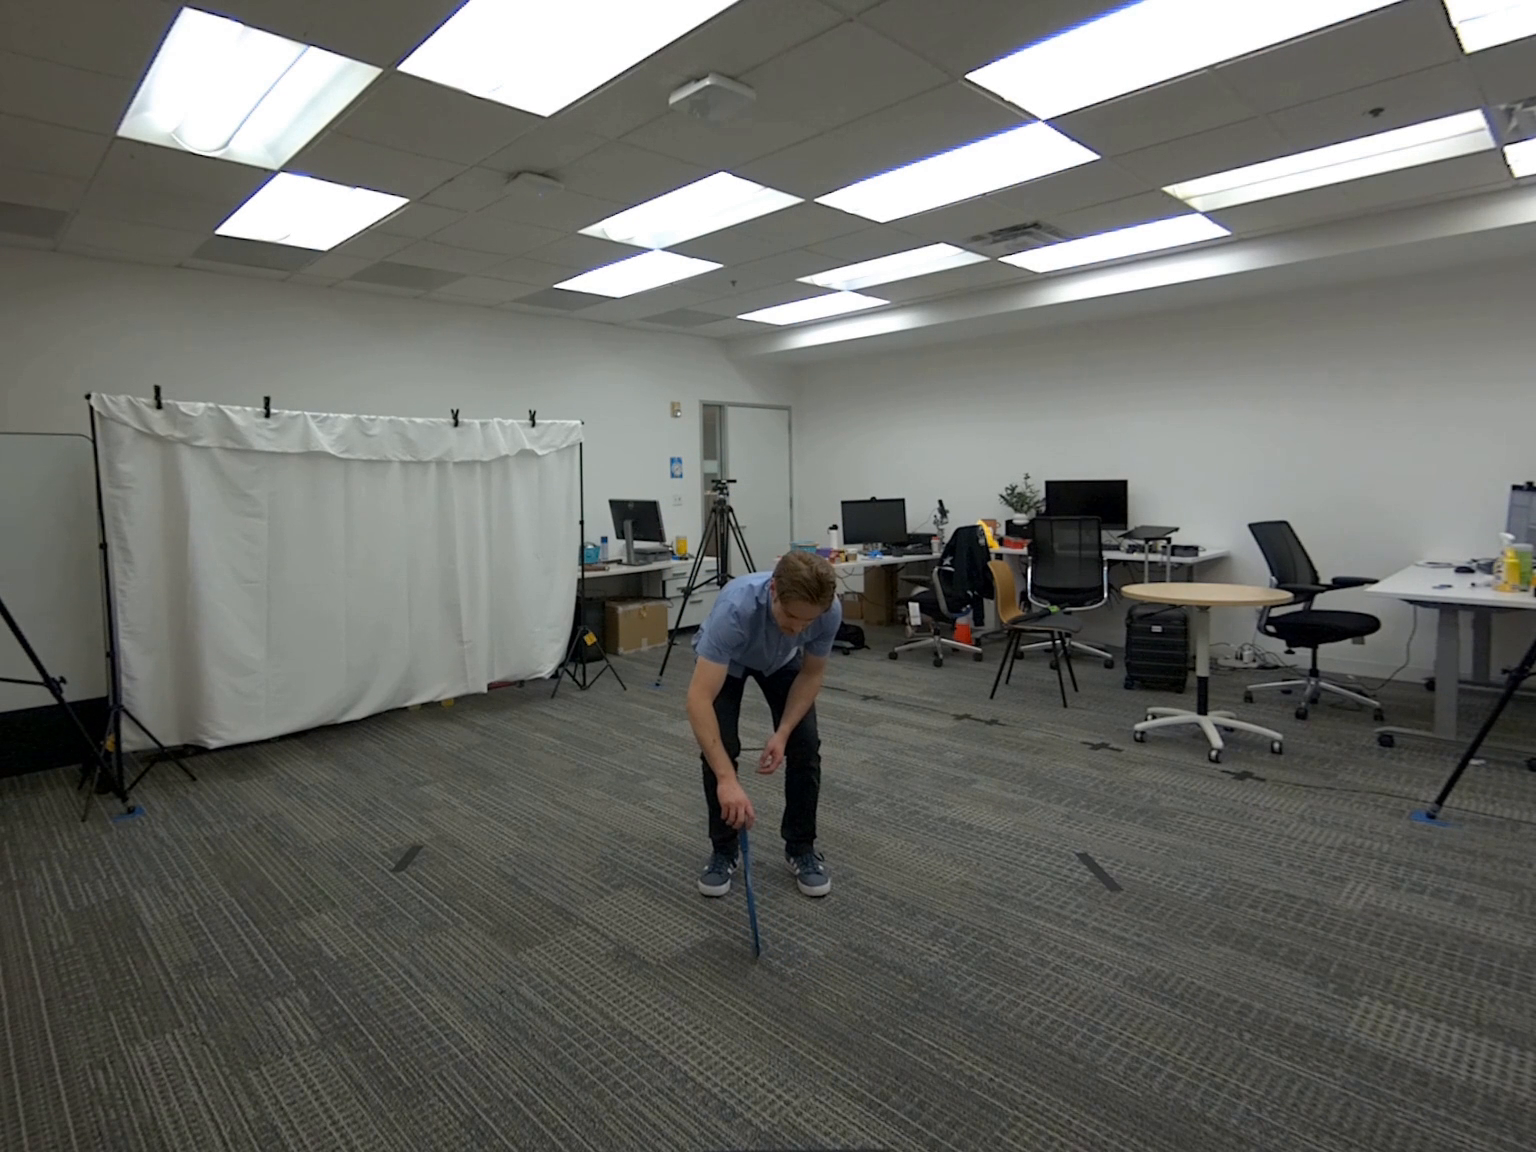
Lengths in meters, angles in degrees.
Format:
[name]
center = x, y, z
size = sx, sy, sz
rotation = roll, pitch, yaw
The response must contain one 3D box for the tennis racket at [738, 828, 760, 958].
[tennis racket]
center = -0.054, 0.899, 2.536
size = 0.031, 0.433, 0.215
rotation = -7, 1, -8
